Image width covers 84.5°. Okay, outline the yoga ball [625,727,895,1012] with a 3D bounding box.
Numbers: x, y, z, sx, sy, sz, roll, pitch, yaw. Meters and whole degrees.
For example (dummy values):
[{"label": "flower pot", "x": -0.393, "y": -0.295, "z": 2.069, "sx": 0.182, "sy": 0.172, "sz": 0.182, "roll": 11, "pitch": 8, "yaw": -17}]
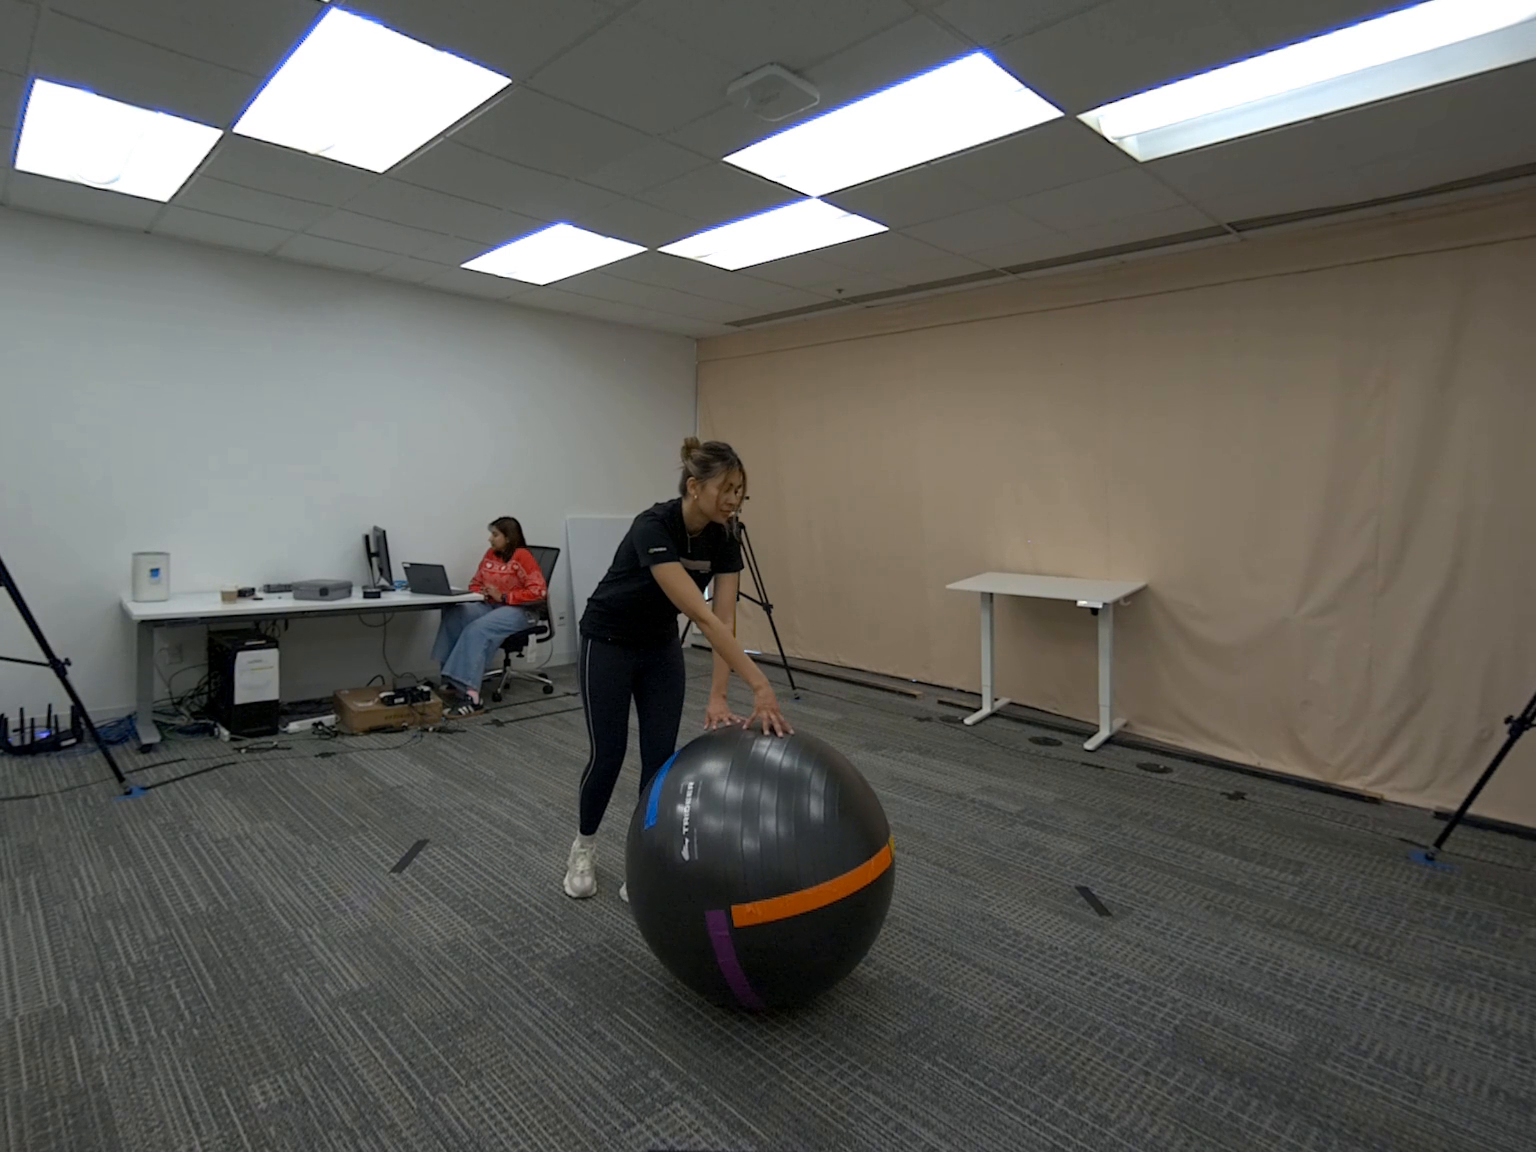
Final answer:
[{"label": "yoga ball", "x": -0.023, "y": 0.809, "z": 2.388, "sx": 0.757, "sy": 0.756, "sz": 0.761, "roll": 1, "pitch": 4, "yaw": -1}]
